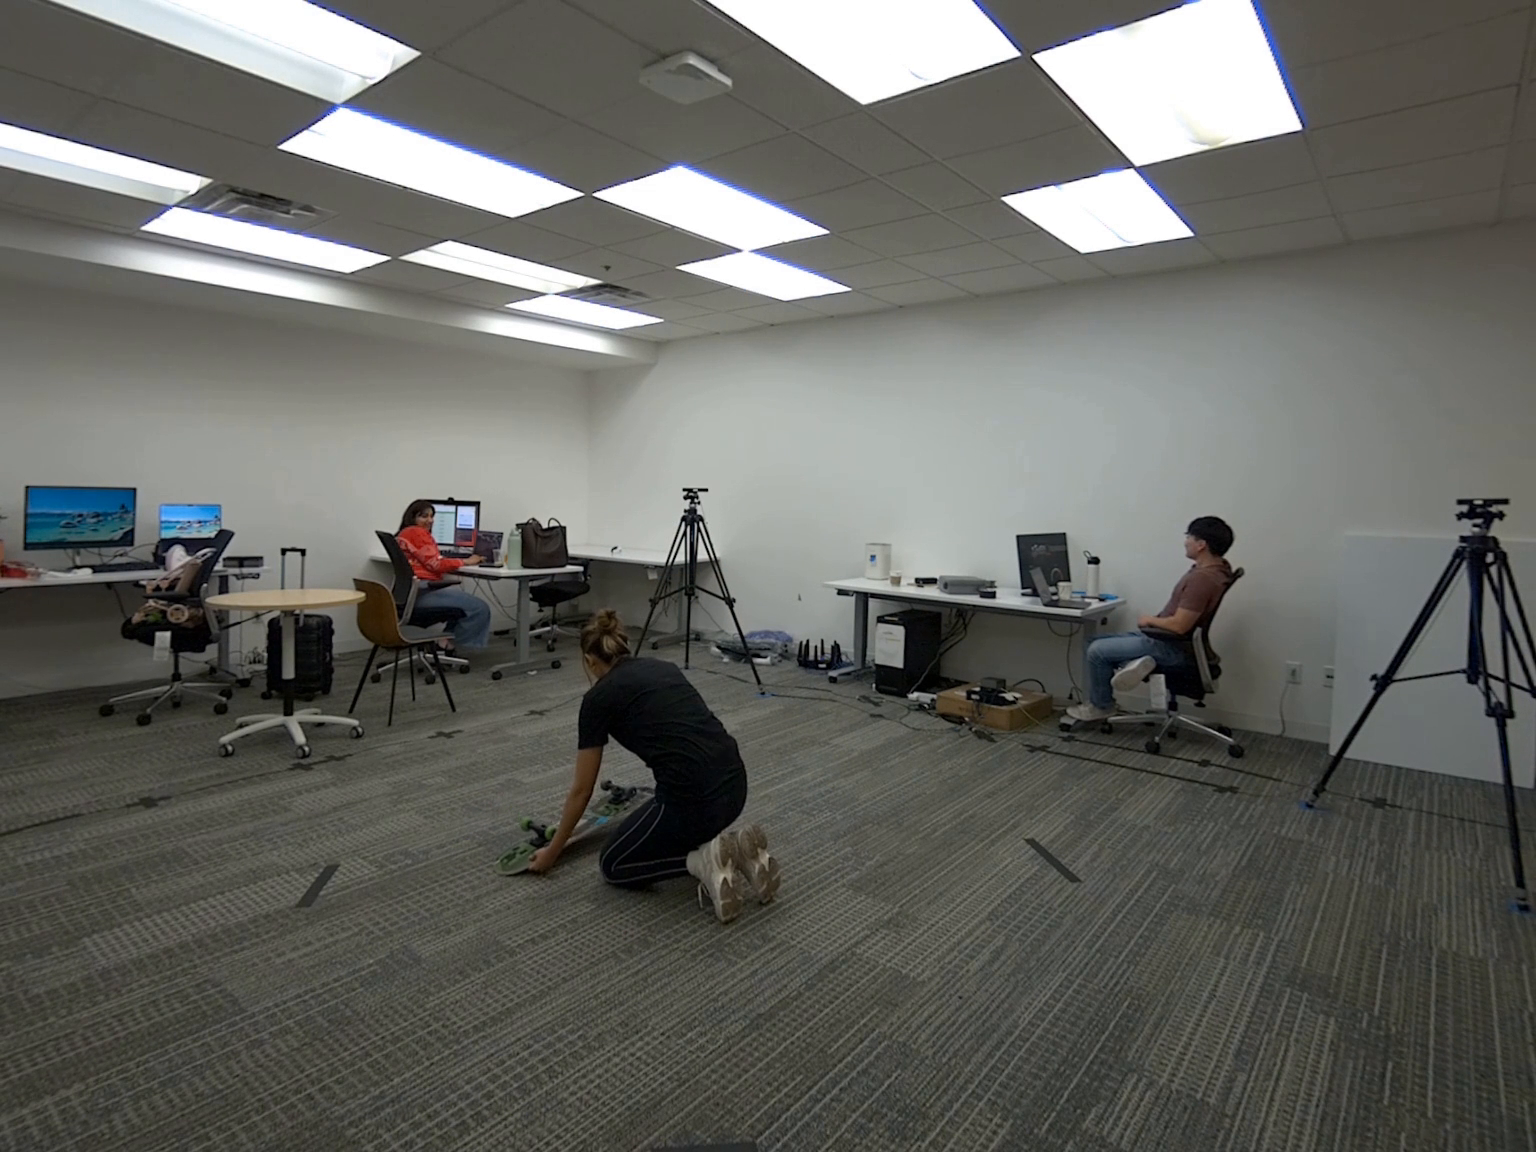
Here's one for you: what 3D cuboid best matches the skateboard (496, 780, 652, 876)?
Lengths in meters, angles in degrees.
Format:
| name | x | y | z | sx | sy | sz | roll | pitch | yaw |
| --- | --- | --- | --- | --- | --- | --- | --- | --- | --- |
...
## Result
| name | x | y | z | sx | sy | sz | roll | pitch | yaw |
| --- | --- | --- | --- | --- | --- | --- | --- | --- | --- |
| skateboard | -0.742 | 0.934 | 3.322 | 0.199 | 0.109 | 0.767 | -2 | 10 | 41 |
